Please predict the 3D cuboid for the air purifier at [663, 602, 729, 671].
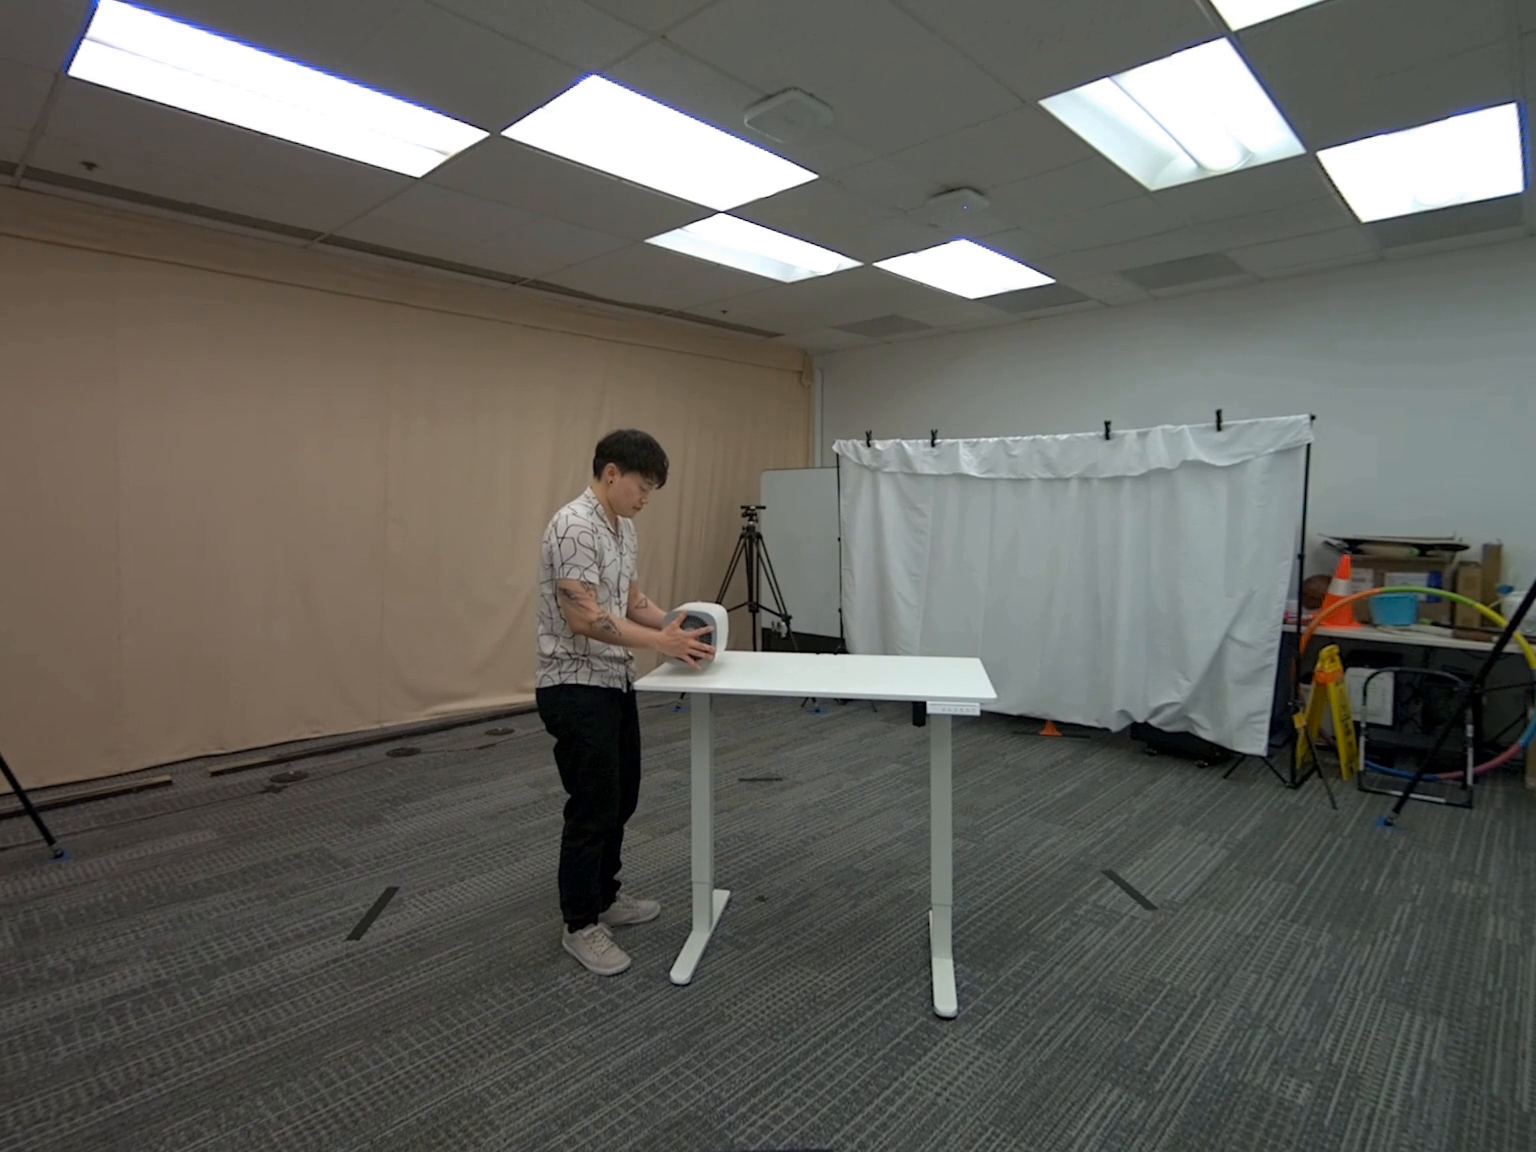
[{"bbox_3d":[-0.223,0.175,2.643,0.173,0.171,0.264,3,3,5],"label":"air purifier"}]
